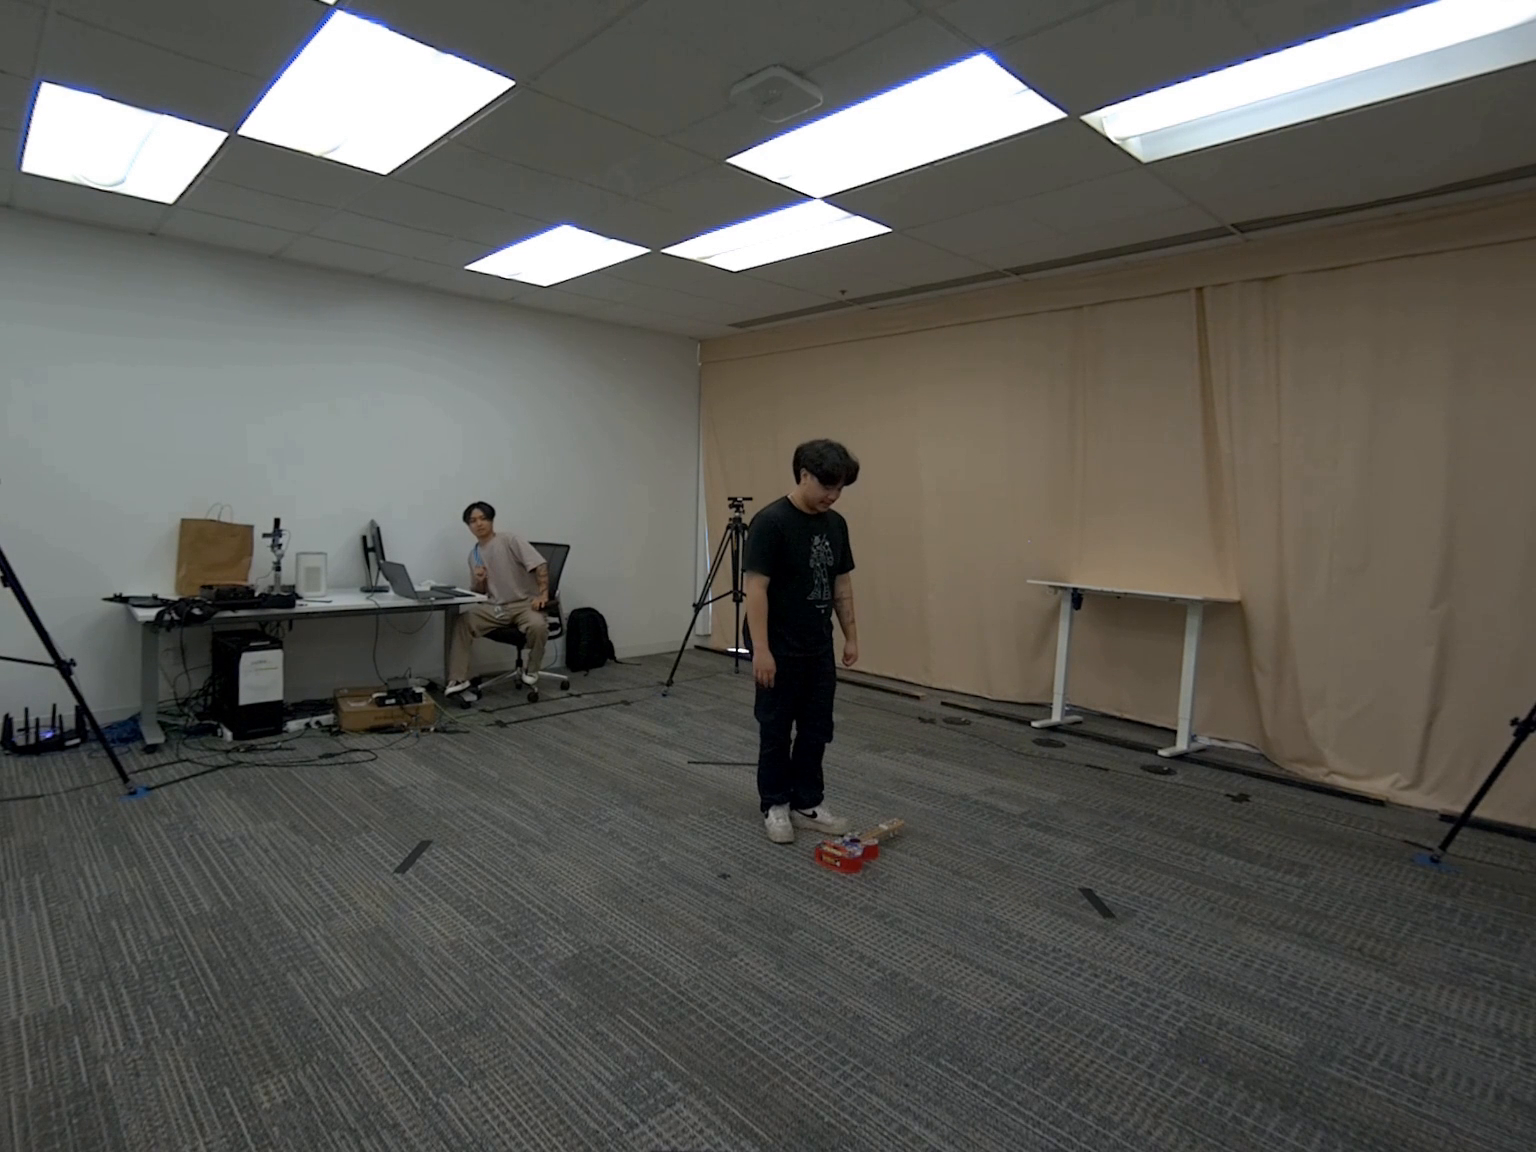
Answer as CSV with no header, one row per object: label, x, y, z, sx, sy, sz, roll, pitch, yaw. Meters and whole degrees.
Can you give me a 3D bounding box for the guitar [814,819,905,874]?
guitar,0.404,1.067,3.344,0.487,0.070,0.198,-3,6,-38
